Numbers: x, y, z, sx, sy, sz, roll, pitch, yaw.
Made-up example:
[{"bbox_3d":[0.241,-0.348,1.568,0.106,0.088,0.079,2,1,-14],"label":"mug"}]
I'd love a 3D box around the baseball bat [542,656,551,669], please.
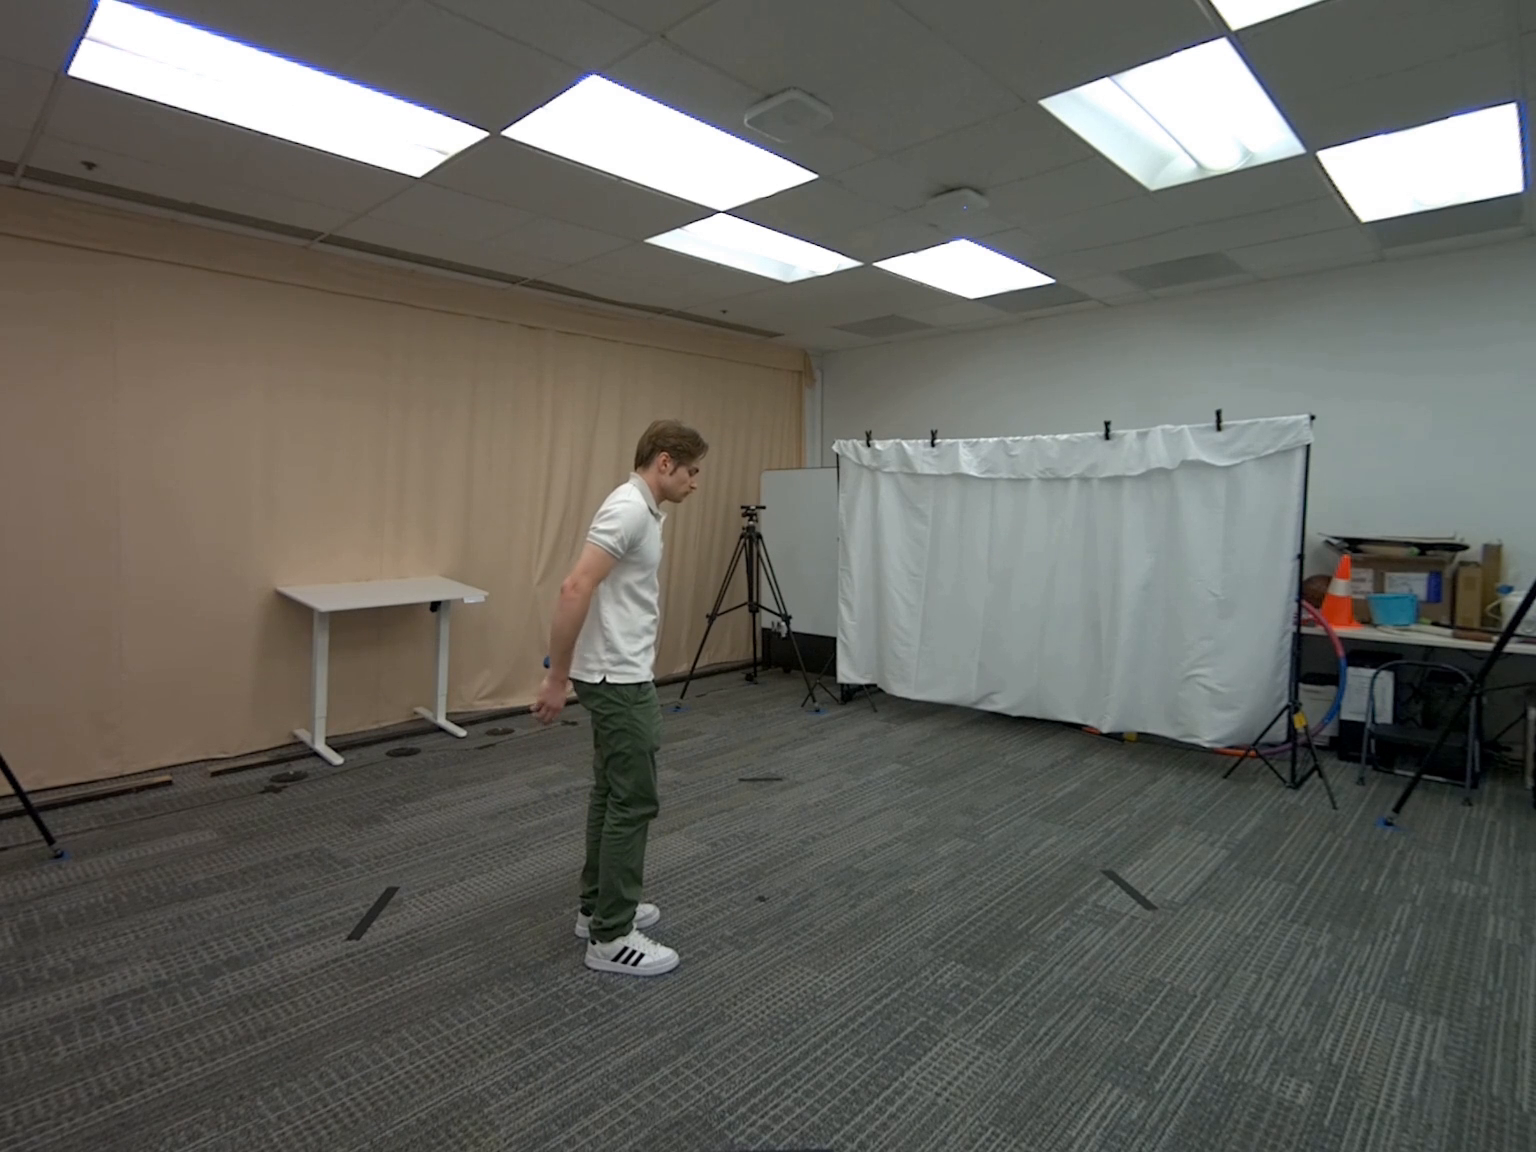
[{"bbox_3d":[-0.606,0.437,3.034,0.092,0.089,0.524,3,-31,45],"label":"baseball bat"}]
